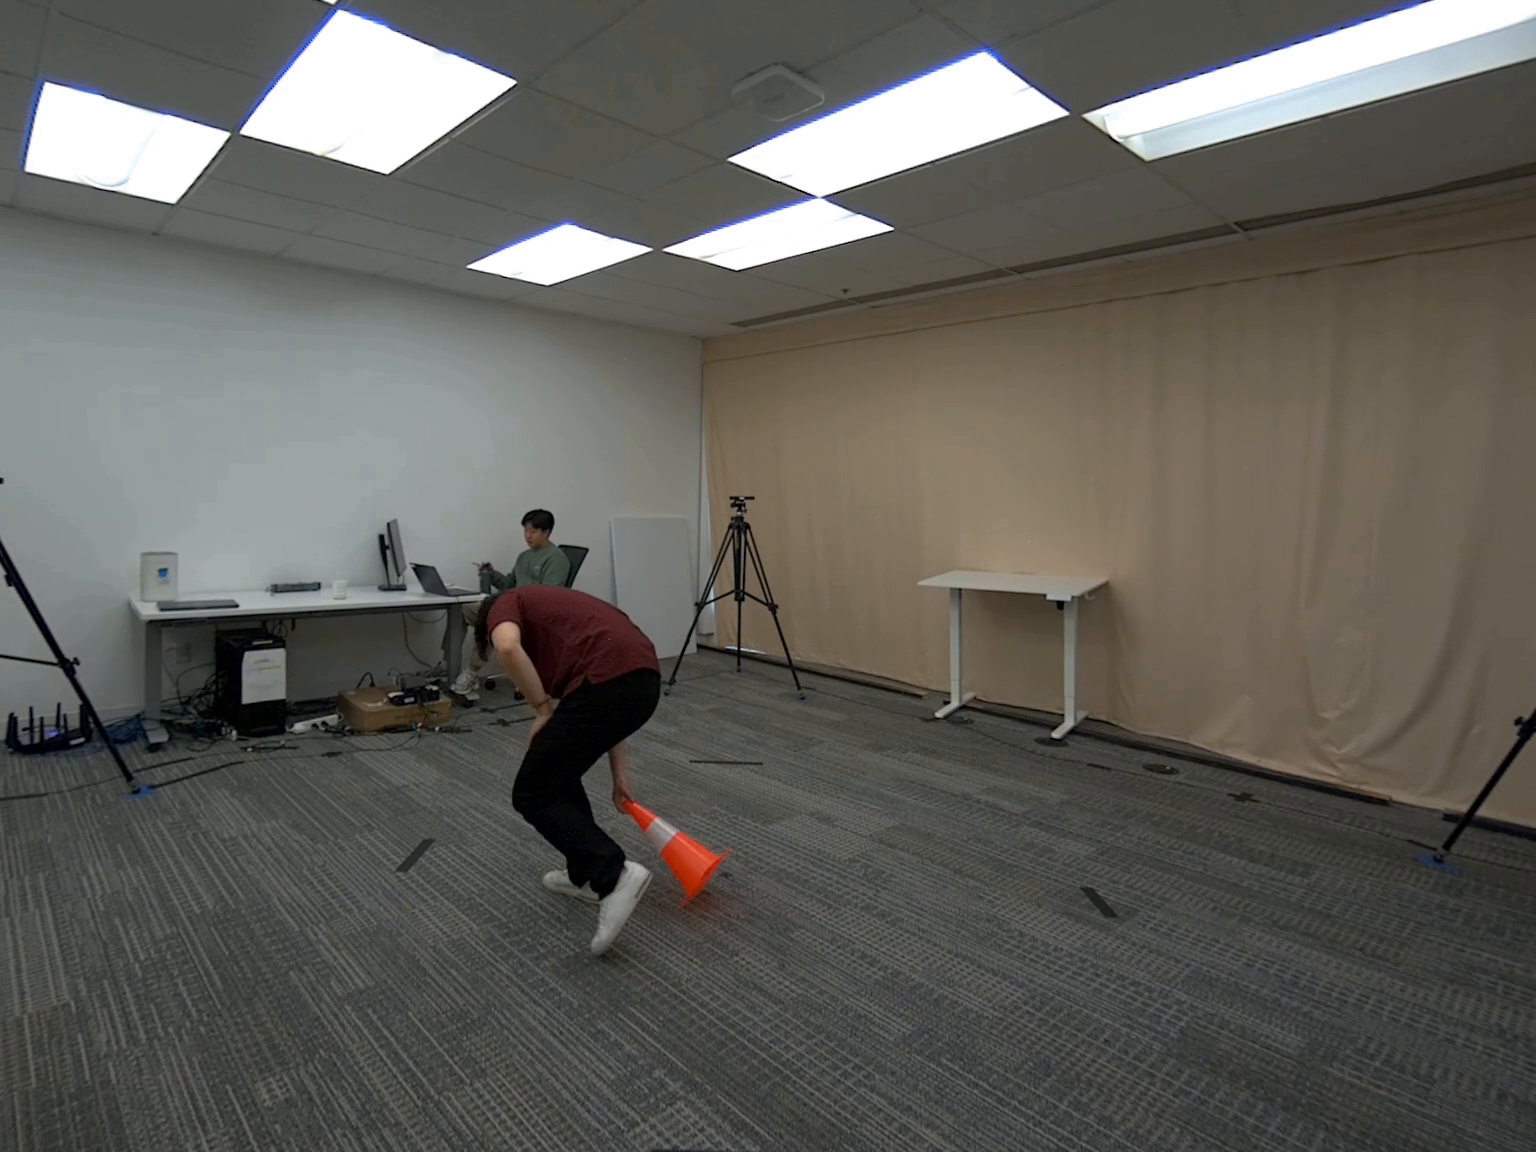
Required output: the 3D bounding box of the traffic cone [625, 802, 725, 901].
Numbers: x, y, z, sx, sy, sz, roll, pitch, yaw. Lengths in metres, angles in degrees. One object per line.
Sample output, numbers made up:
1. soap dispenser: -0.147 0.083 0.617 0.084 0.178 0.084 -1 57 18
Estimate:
1. traffic cone: -0.369 0.928 2.935 0.390 0.202 0.202 37 23 15
